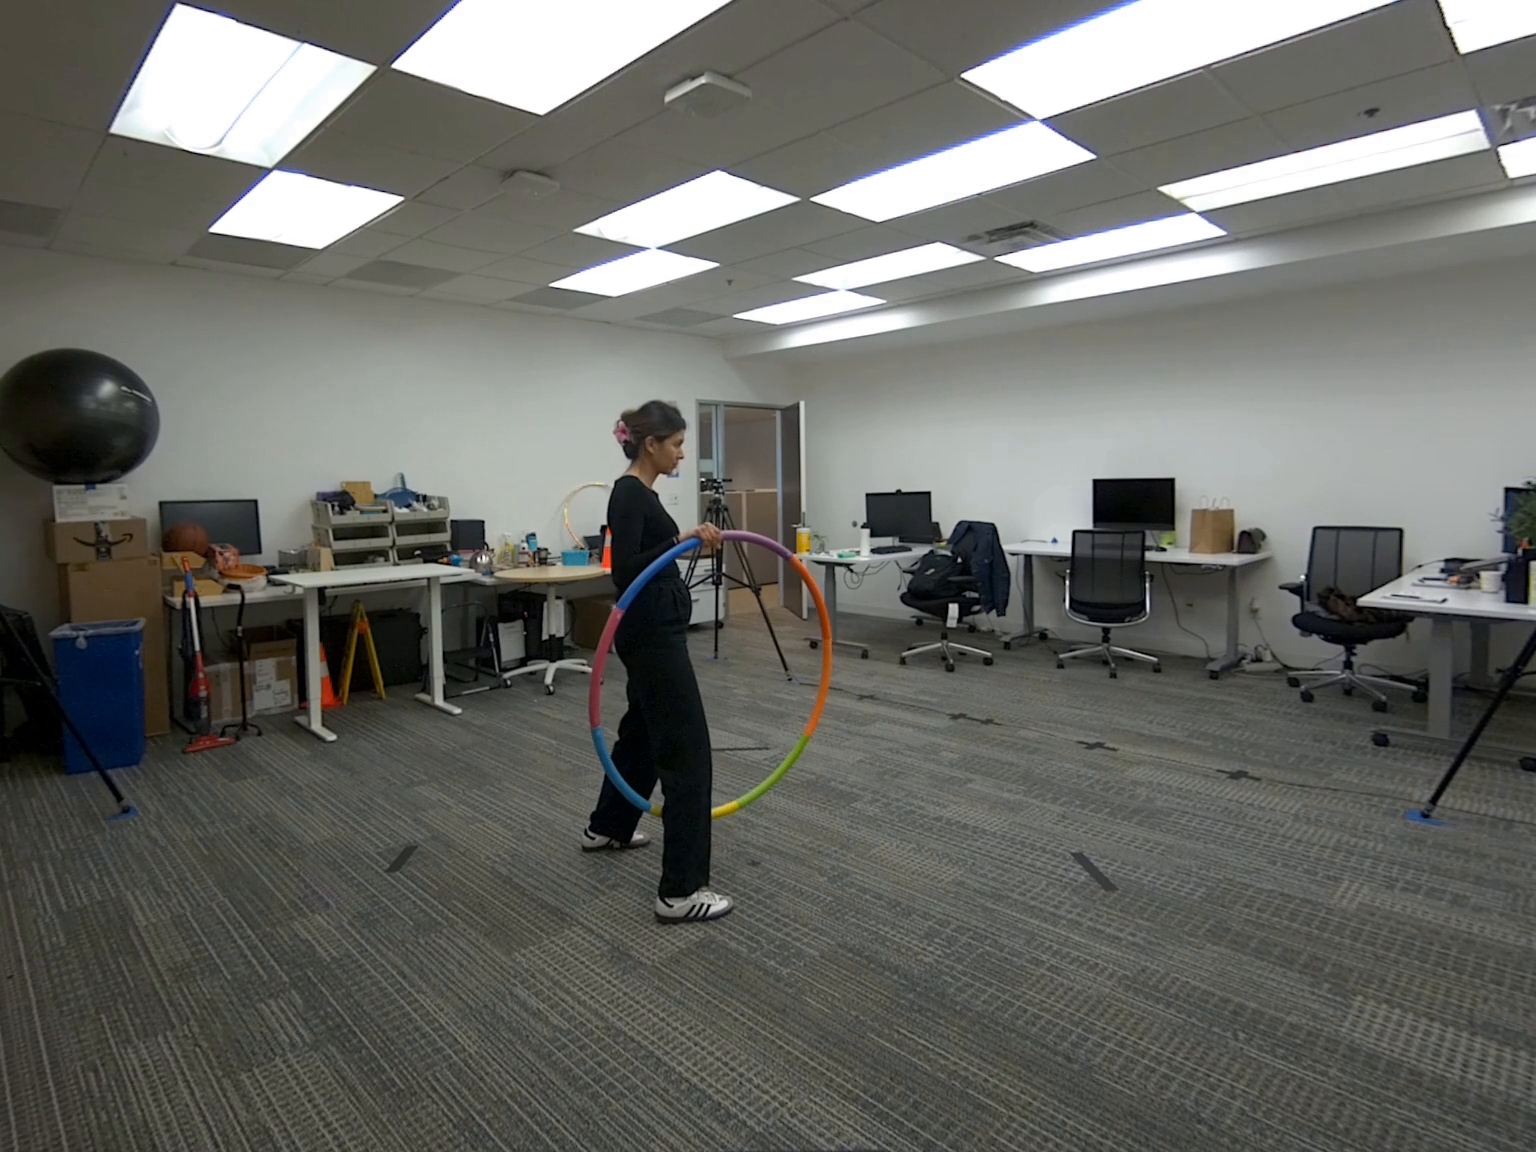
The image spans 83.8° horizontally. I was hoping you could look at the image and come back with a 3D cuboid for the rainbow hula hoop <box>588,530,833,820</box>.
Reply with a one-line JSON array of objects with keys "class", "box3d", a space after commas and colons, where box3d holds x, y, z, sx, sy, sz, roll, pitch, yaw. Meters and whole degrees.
[{"class": "rainbow hula hoop", "box3d": [-0.164, 0.333, 2.880, 0.954, 0.972, 0.037, -4, 9, -35]}]
